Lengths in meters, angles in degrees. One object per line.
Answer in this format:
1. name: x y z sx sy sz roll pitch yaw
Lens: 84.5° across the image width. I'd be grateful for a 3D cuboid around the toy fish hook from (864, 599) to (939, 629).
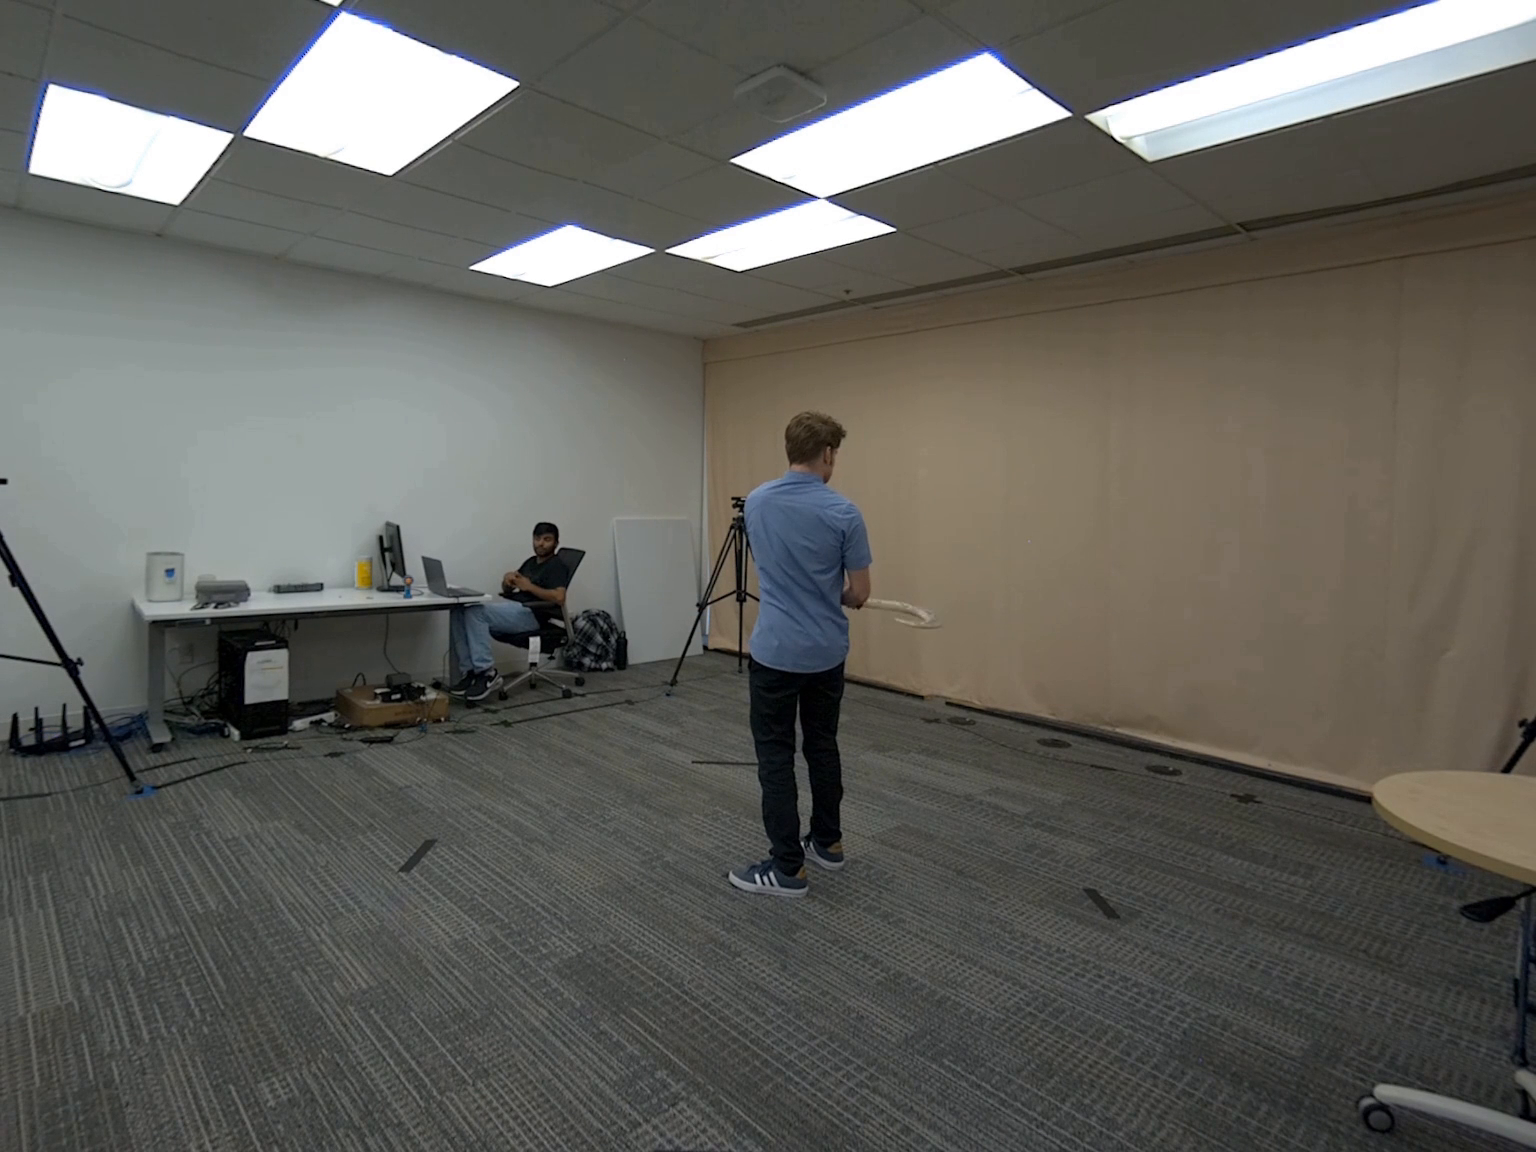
1. toy fish hook: 0.399 0.130 3.342 0.505 0.048 0.227 9 14 -3
